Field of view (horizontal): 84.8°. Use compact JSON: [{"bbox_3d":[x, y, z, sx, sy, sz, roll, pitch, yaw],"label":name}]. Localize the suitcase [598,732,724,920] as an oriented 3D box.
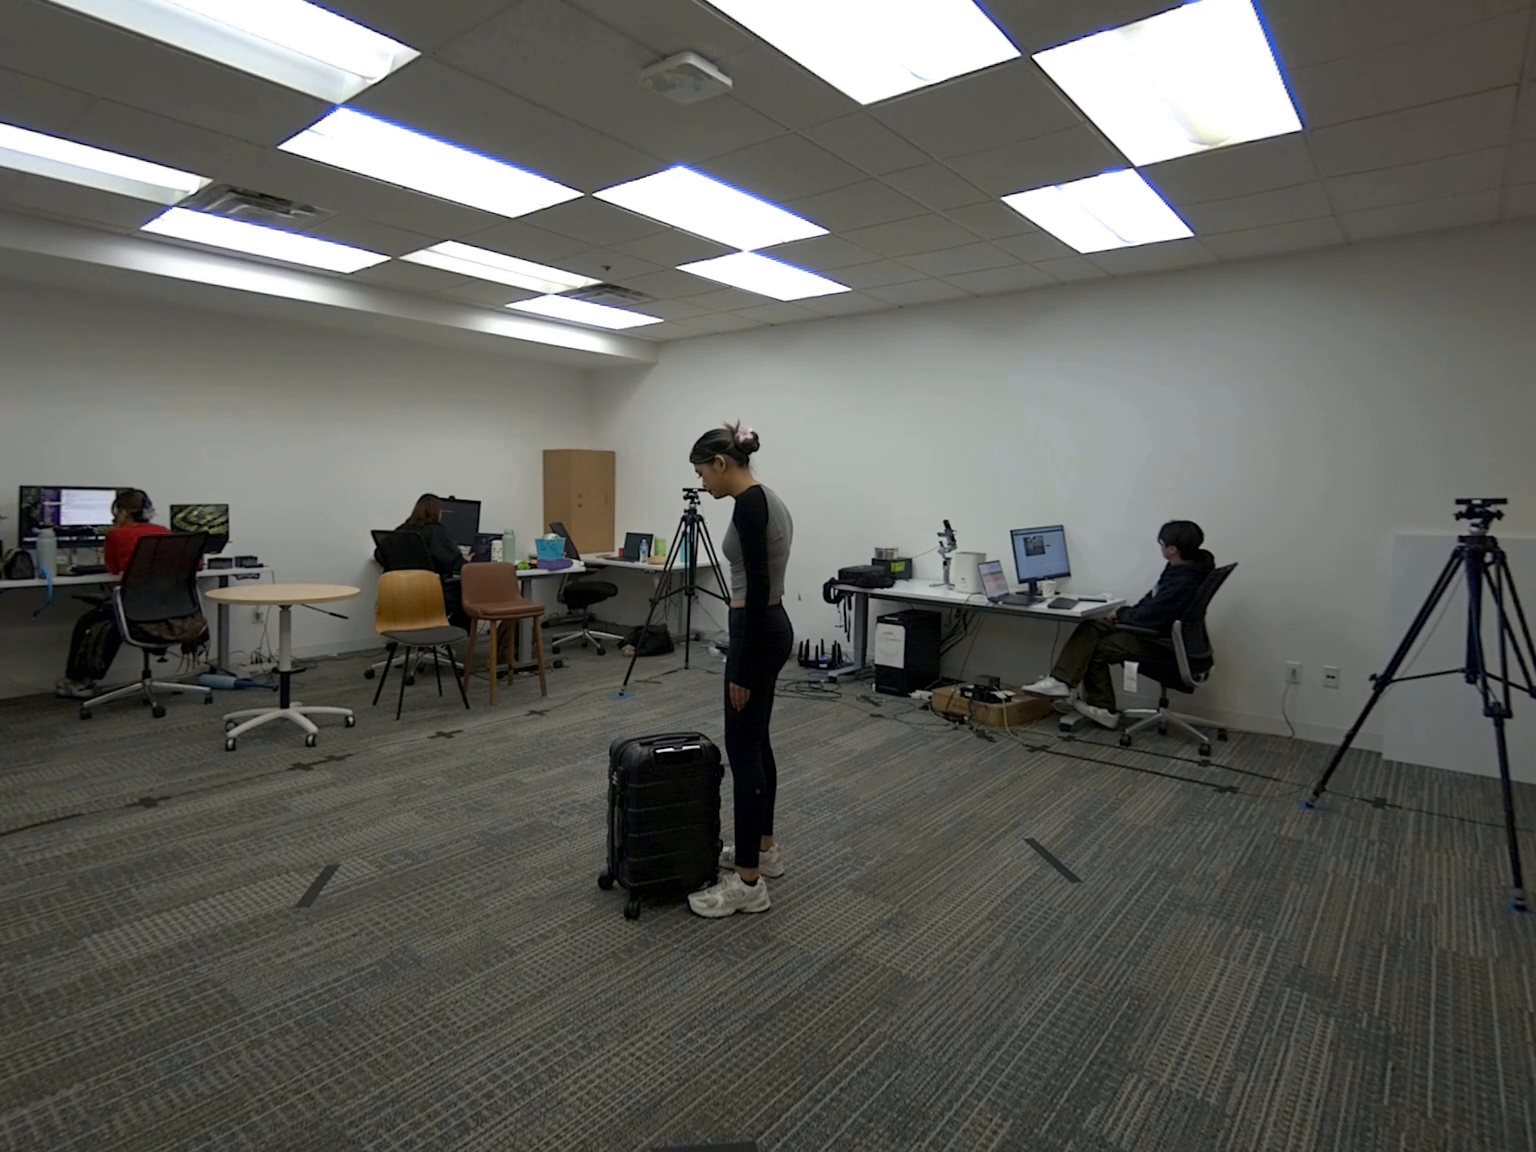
[{"bbox_3d":[-0.369,0.806,2.910,0.366,0.548,0.255,-1,3,-26],"label":"suitcase"}]
